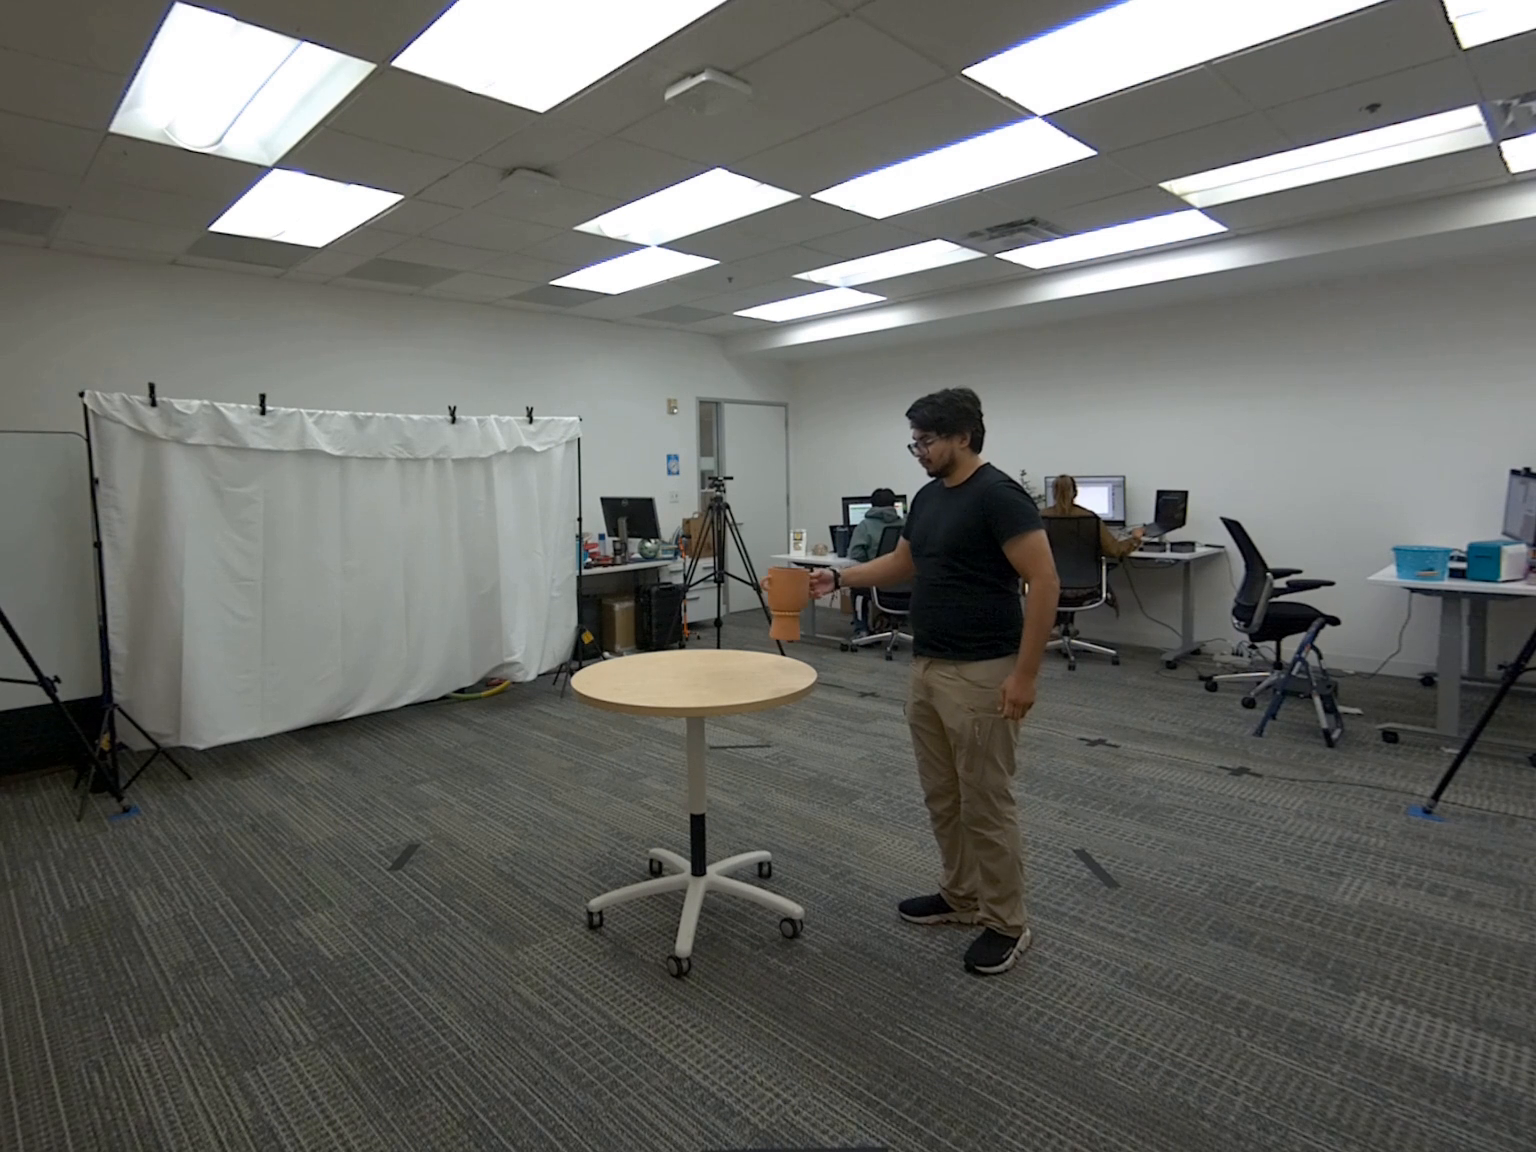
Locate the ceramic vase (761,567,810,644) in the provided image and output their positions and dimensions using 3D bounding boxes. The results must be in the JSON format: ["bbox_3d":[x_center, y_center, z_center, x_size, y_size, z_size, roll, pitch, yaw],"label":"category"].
[{"bbox_3d":[0.067,0.089,2.676,0.160,0.221,0.133,2,-4,9],"label":"ceramic vase"}]
